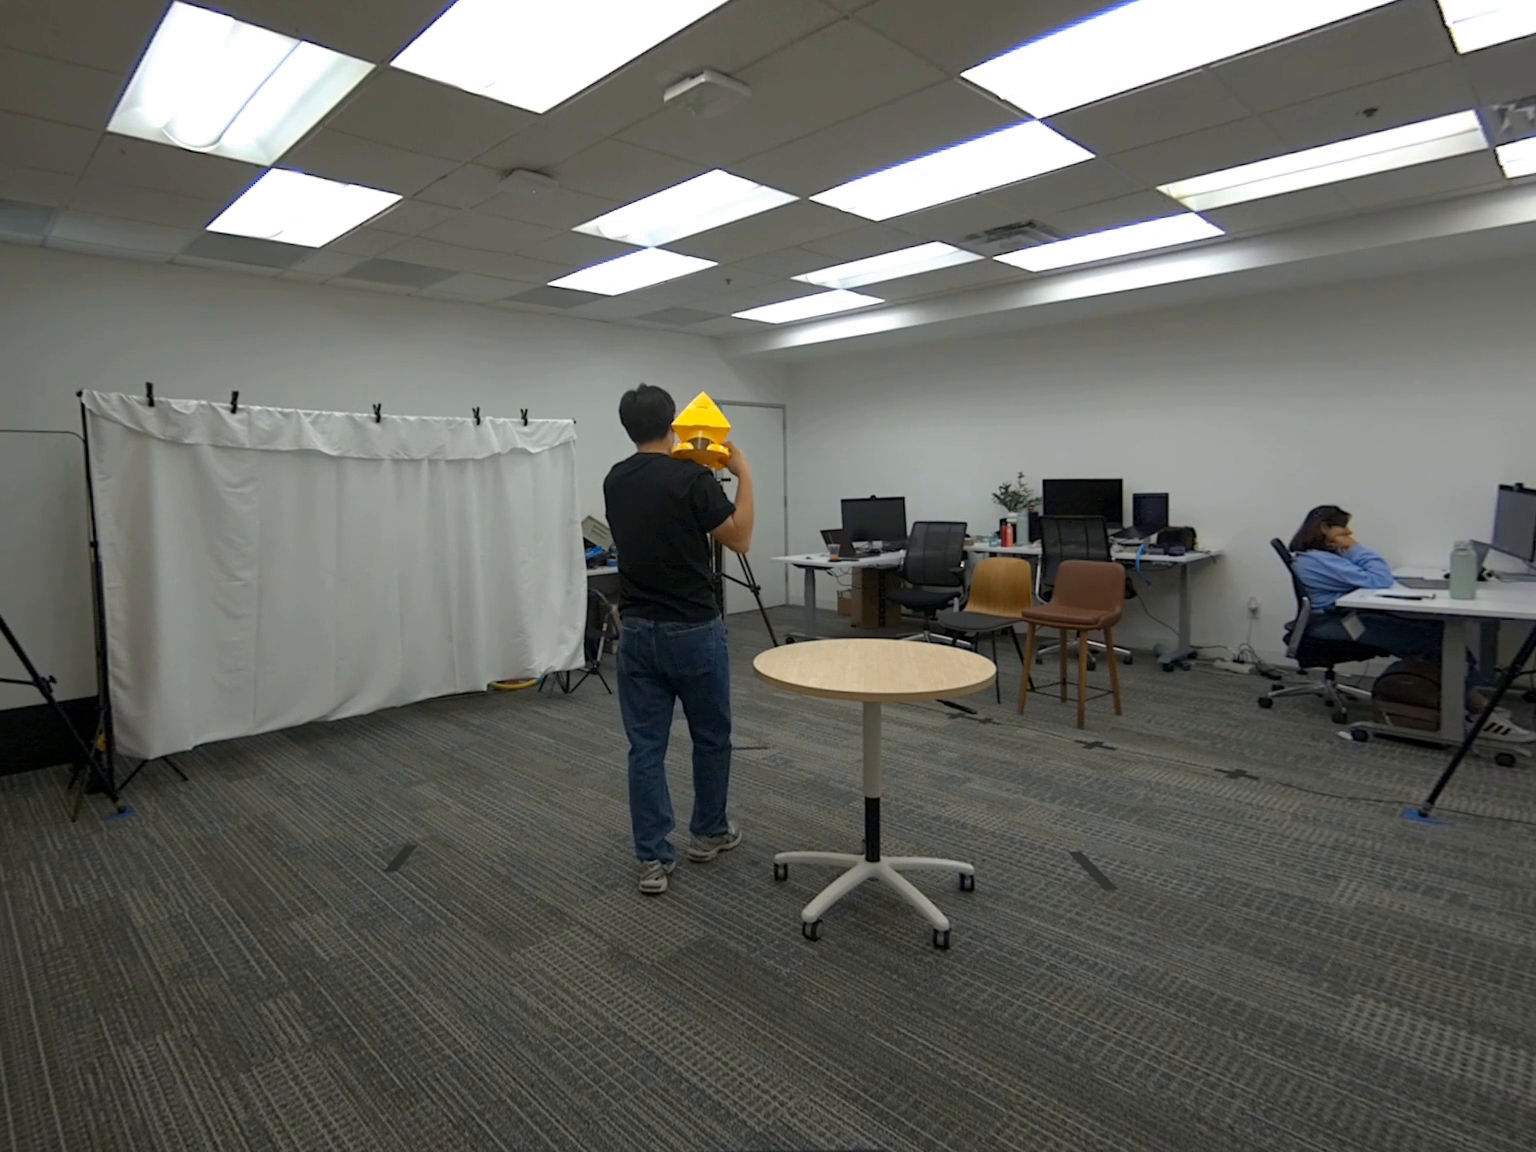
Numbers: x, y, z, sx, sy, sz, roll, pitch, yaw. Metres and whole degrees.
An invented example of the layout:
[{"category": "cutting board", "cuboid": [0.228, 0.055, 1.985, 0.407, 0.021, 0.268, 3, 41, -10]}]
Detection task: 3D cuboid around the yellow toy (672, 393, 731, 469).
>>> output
[{"category": "yellow toy", "cuboid": [-0.235, -0.518, 3.020, 0.204, 0.235, 0.190, 2, -21, -3]}]
